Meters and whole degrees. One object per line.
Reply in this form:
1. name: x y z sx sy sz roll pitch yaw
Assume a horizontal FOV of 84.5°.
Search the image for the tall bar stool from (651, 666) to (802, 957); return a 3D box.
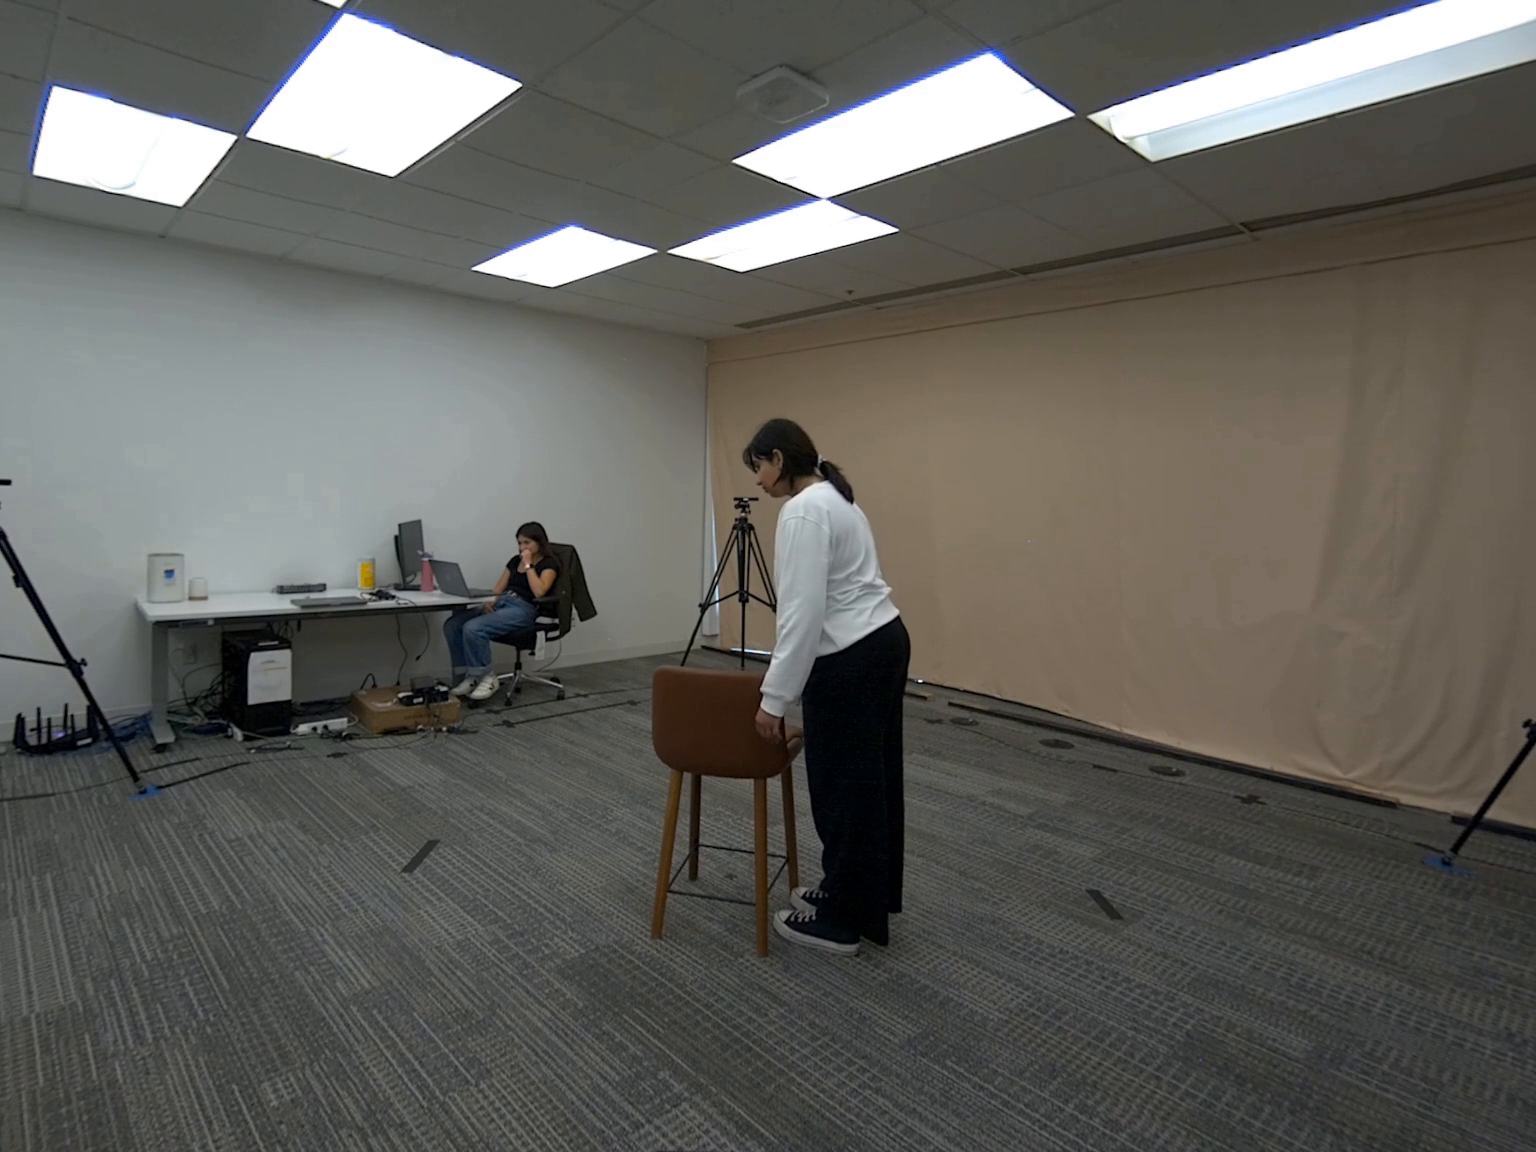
1. tall bar stool: -0.135 0.702 2.789 0.463 0.886 0.463 3 5 16
